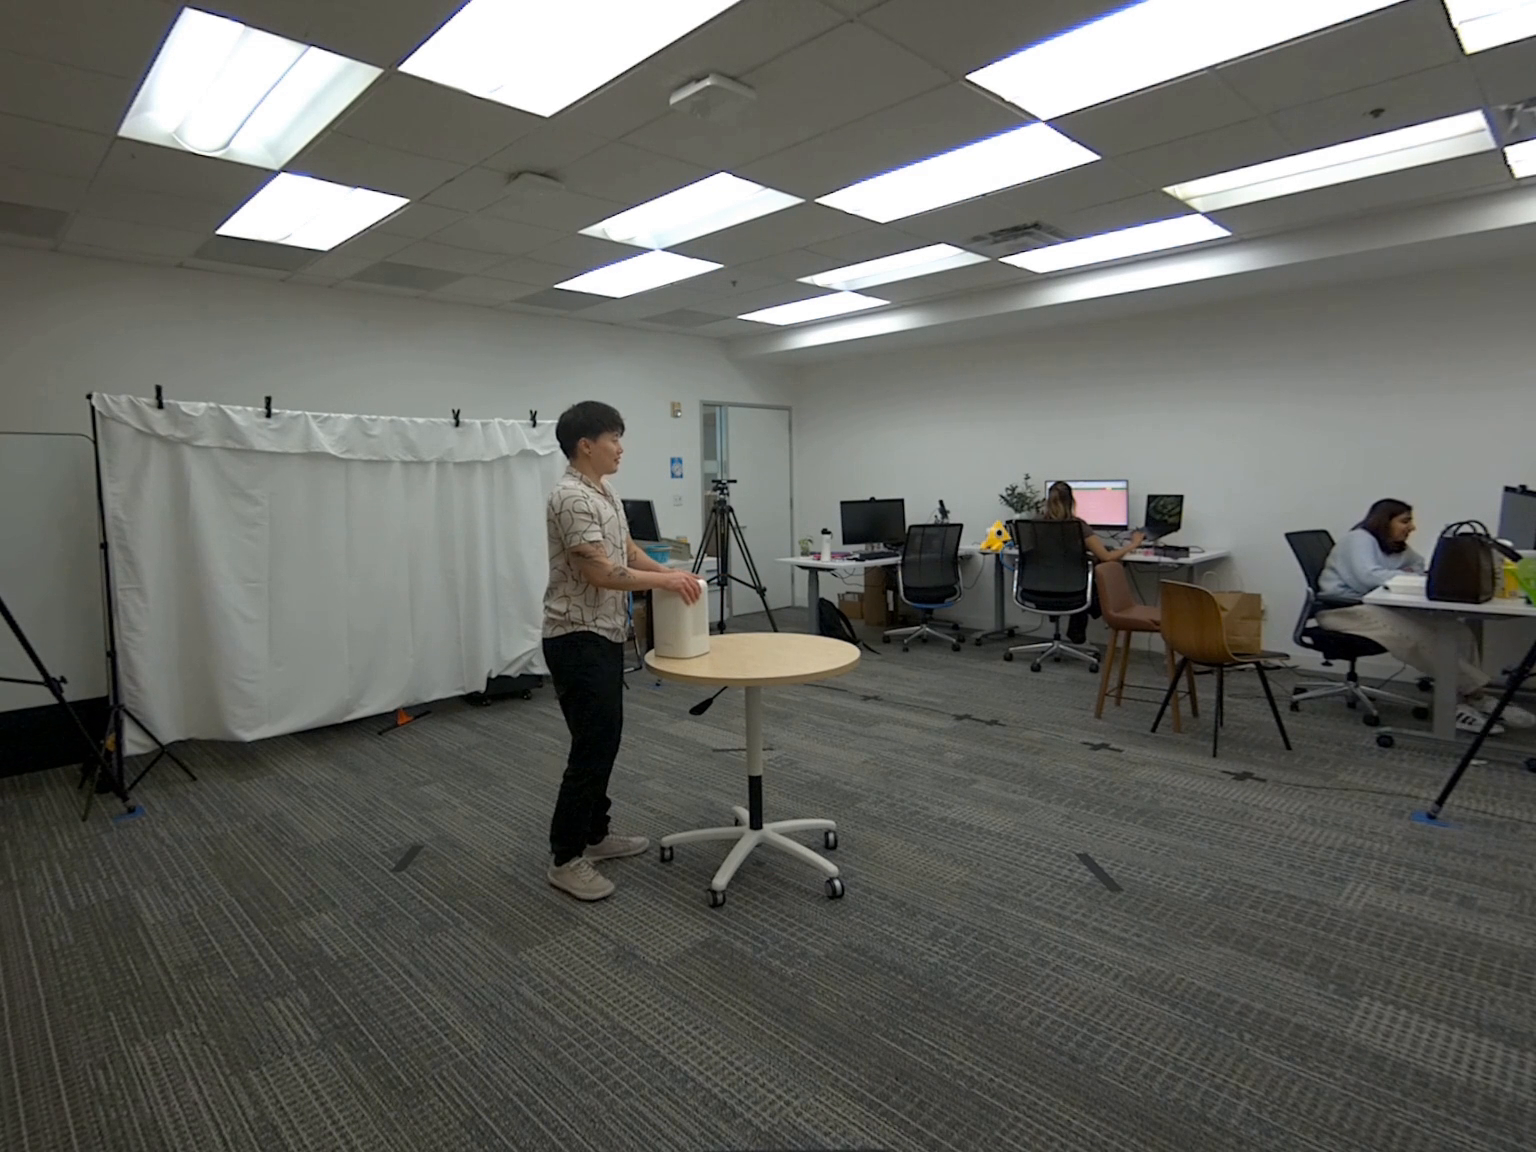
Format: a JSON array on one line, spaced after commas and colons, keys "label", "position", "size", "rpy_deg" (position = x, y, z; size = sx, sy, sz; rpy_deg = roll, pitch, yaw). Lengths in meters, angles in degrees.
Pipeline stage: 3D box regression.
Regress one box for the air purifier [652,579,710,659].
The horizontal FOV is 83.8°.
[{"label": "air purifier", "position": [-0.314, 0.147, 3.062], "size": [0.175, 0.264, 0.168], "rpy_deg": [1, 7, 29]}]
